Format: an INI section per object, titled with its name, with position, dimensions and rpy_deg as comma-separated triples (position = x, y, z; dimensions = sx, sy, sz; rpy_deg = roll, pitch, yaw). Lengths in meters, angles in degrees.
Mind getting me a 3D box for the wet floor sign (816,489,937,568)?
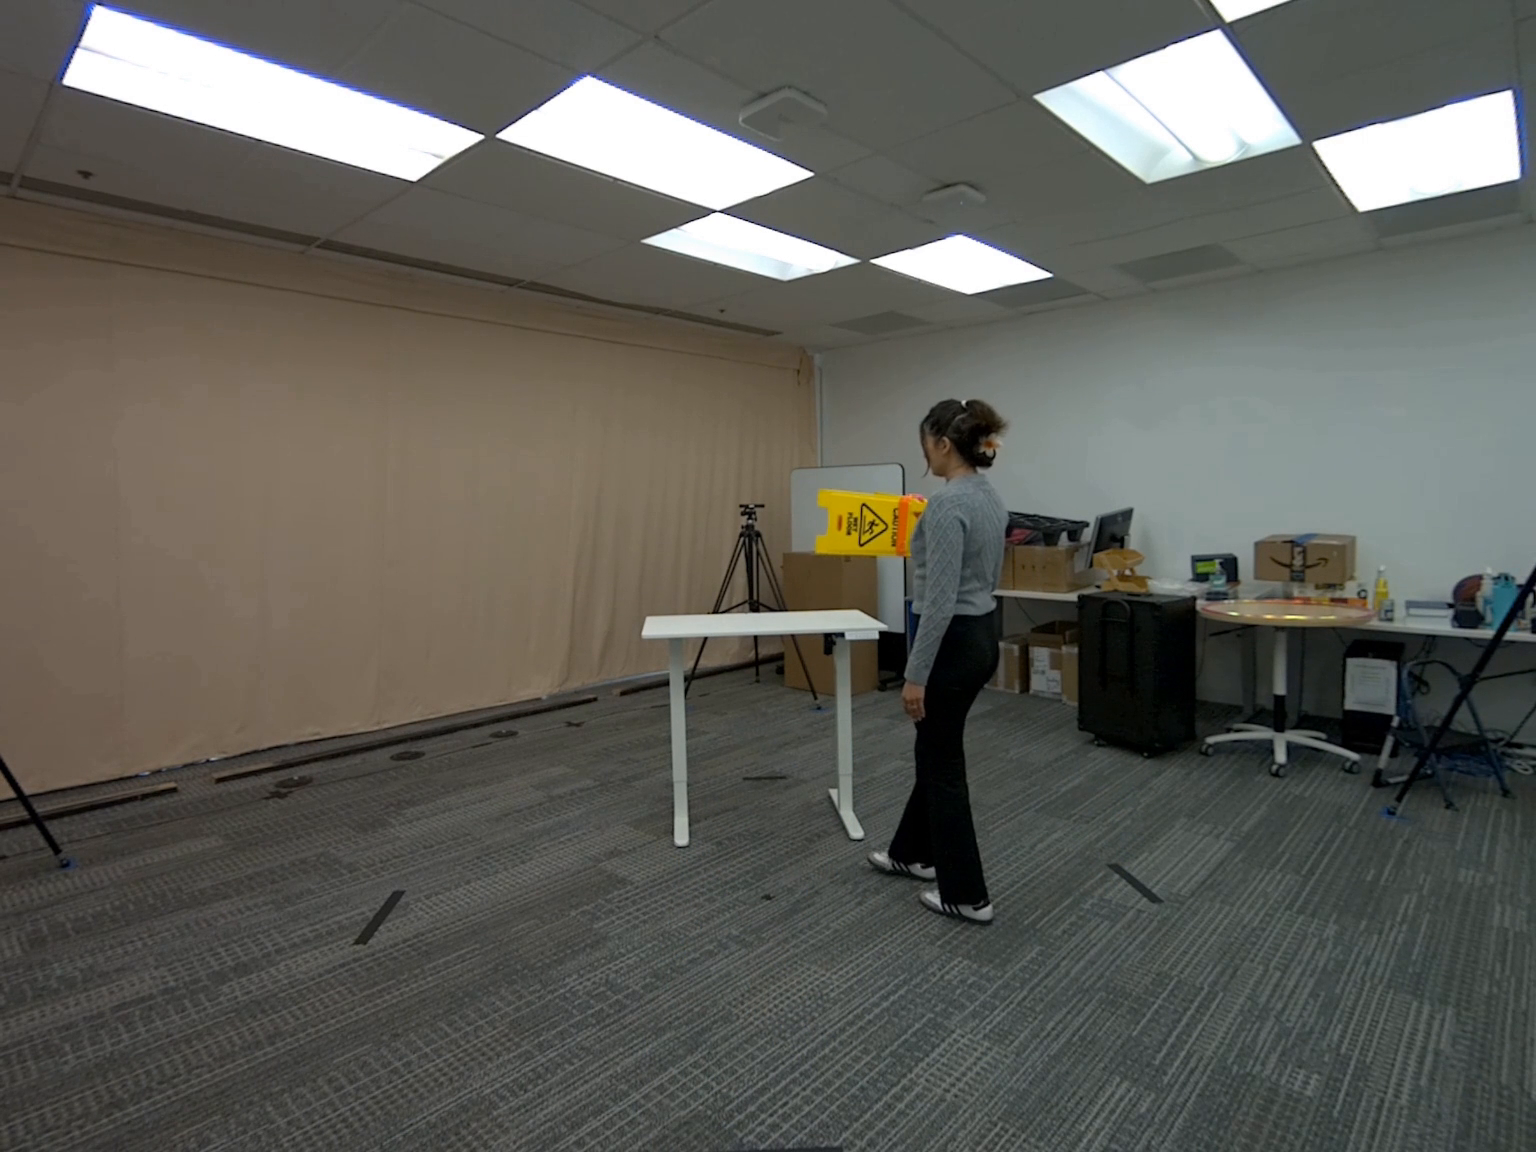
[wet floor sign]
position = 0.480, -0.203, 3.427
dimensions = 0.283, 0.281, 0.662
rpy_deg = 1, 5, -23
